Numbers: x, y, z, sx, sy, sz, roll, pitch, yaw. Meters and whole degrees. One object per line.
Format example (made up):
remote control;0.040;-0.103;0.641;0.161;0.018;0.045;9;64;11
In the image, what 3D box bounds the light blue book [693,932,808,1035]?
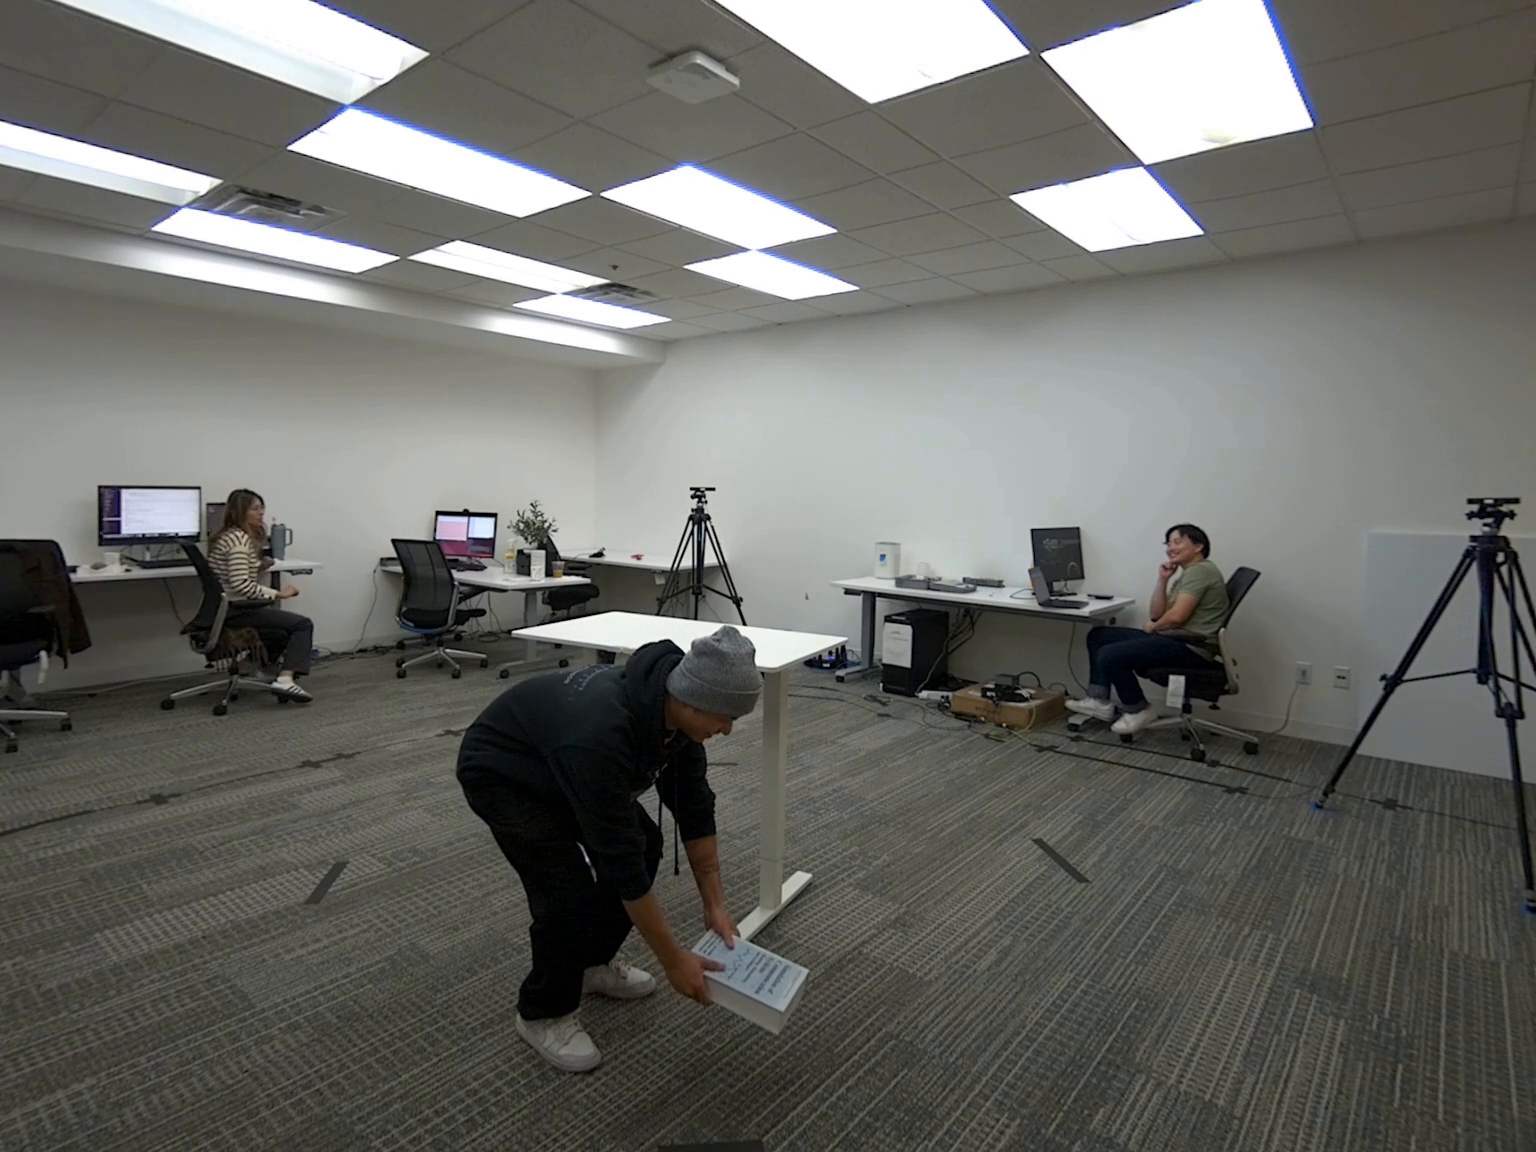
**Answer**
light blue book;-0.056;0.944;2.005;0.268;0.058;0.187;13;10;22
